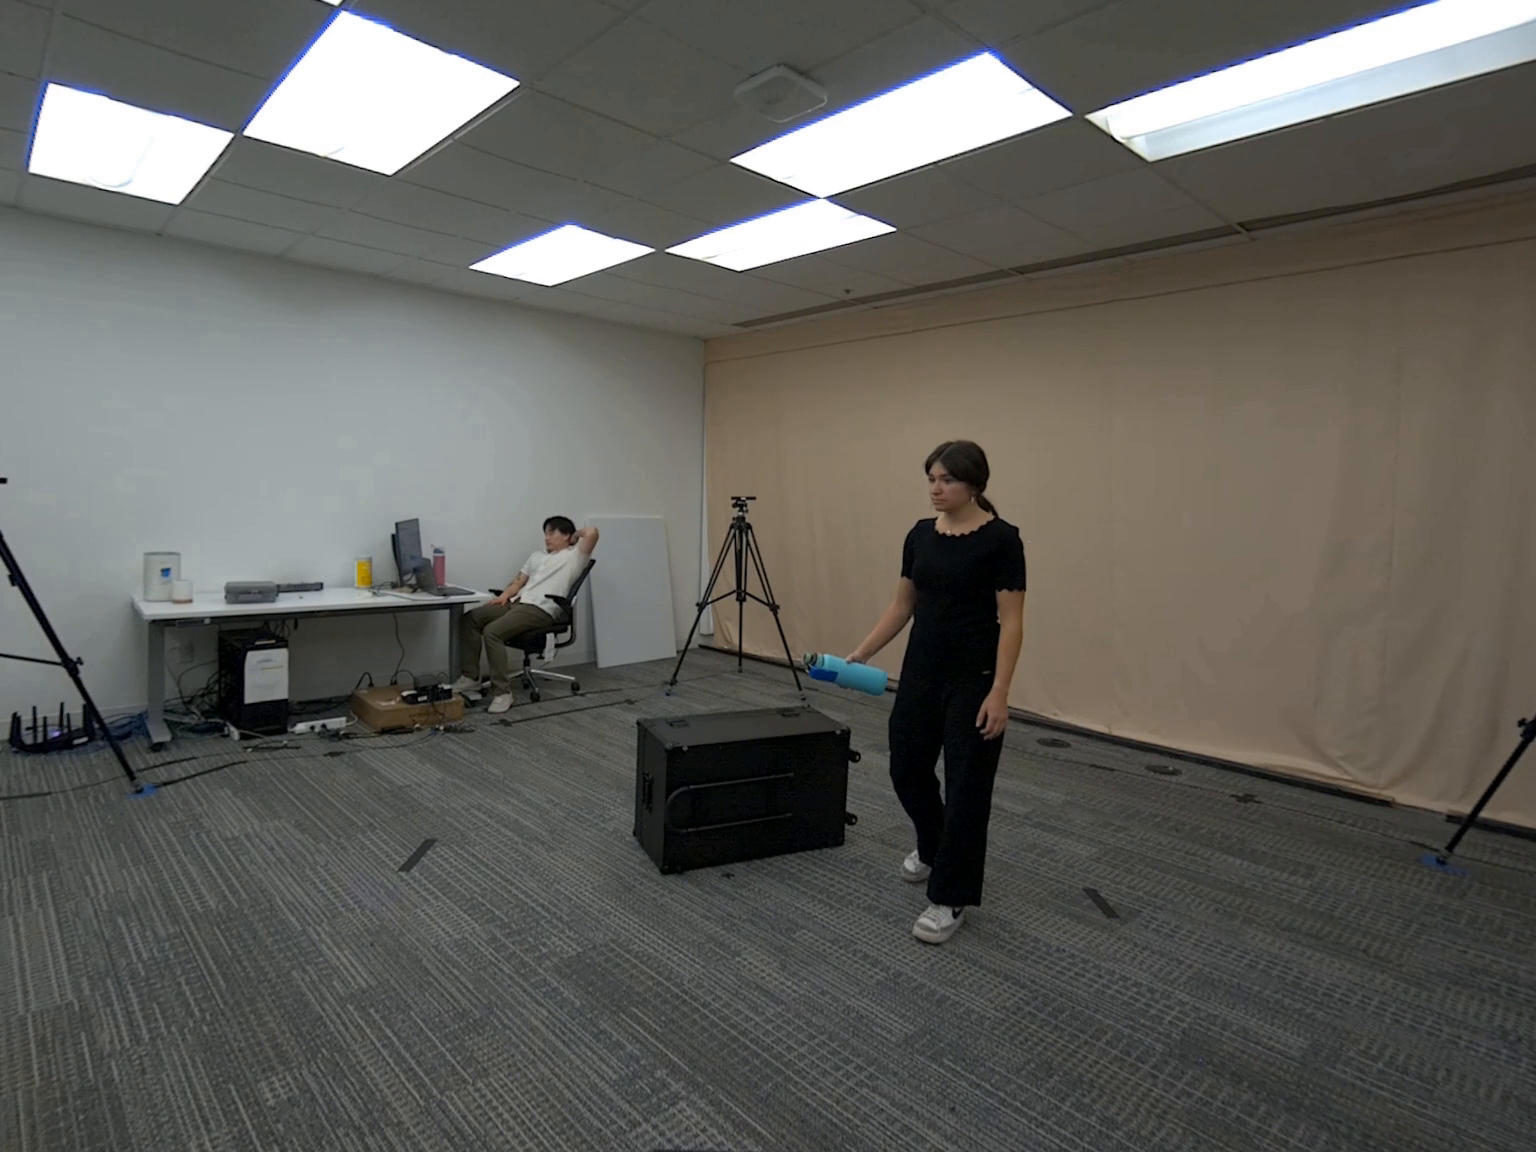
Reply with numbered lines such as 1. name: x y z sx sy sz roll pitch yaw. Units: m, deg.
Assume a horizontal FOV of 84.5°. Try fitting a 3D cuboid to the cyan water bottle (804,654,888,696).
1. cyan water bottle: 0.257 0.325 2.832 0.280 0.092 0.093 16 1 -12
